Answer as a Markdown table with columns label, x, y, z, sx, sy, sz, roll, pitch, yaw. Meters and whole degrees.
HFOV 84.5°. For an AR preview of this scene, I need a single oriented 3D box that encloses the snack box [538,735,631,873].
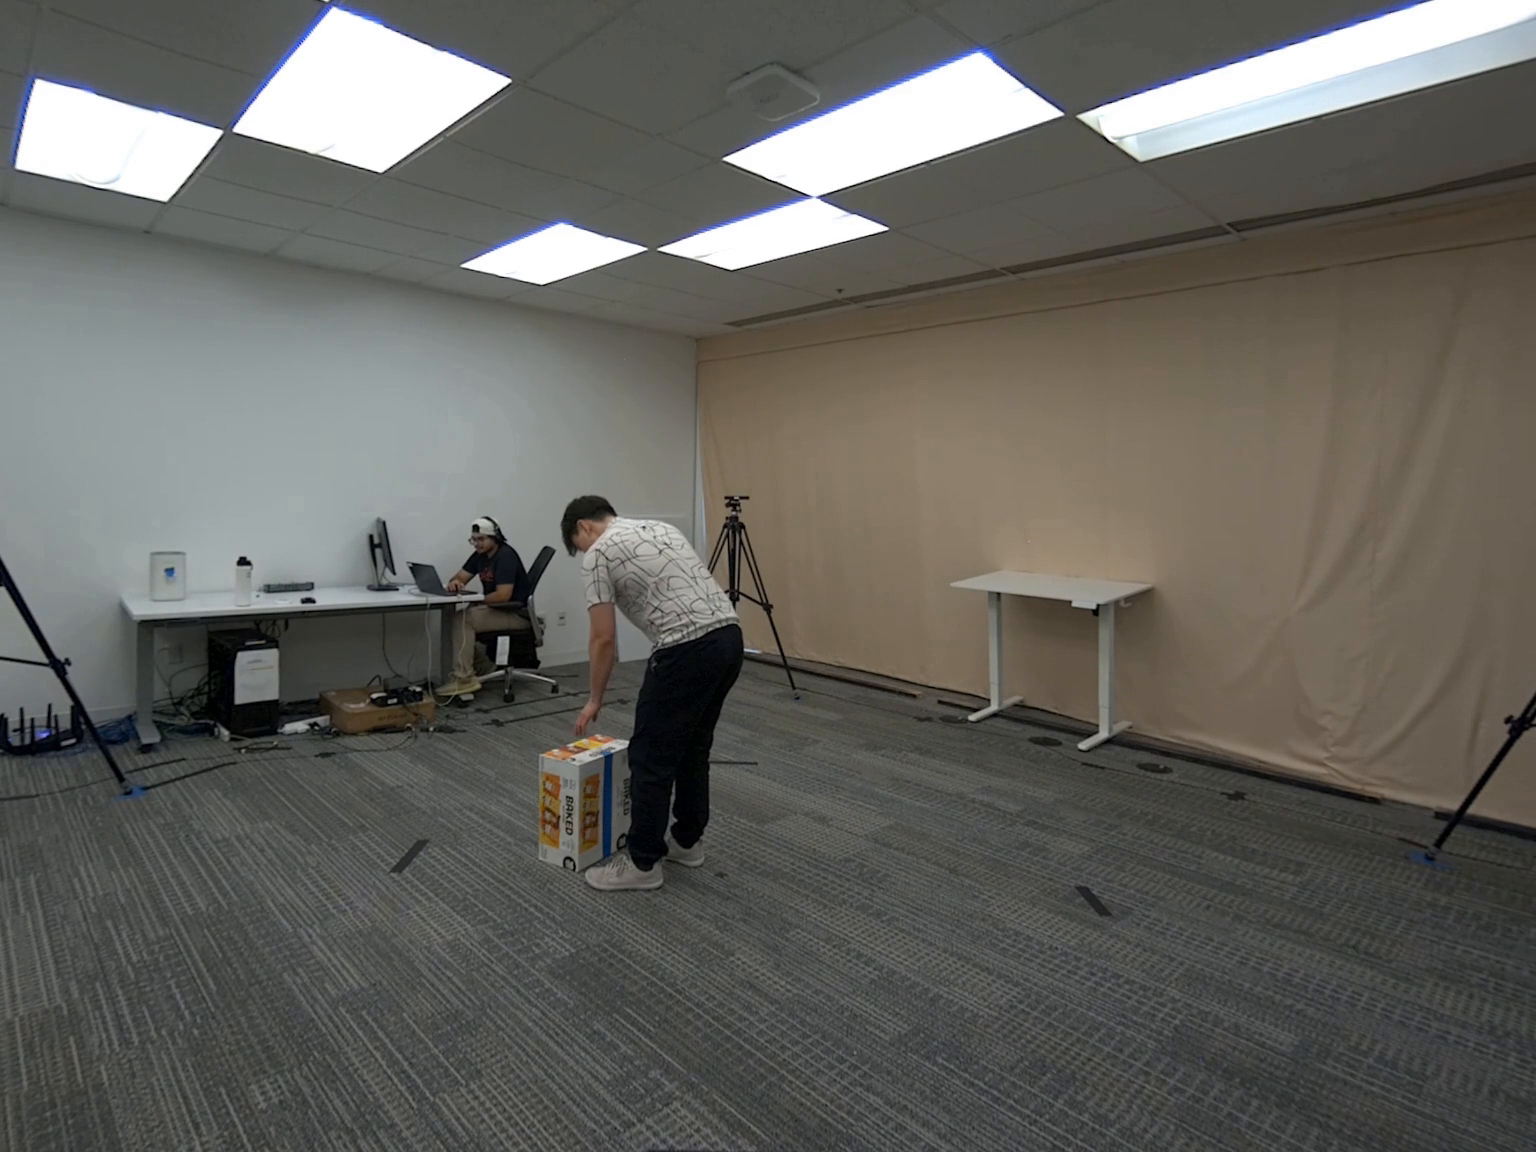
| label | x | y | z | sx | sy | sz | roll | pitch | yaw |
| --- | --- | --- | --- | --- | --- | --- | --- | --- | --- |
| snack box | -0.709 | 0.872 | 3.278 | 0.210 | 0.404 | 0.334 | 3 | 4 | 30 |
